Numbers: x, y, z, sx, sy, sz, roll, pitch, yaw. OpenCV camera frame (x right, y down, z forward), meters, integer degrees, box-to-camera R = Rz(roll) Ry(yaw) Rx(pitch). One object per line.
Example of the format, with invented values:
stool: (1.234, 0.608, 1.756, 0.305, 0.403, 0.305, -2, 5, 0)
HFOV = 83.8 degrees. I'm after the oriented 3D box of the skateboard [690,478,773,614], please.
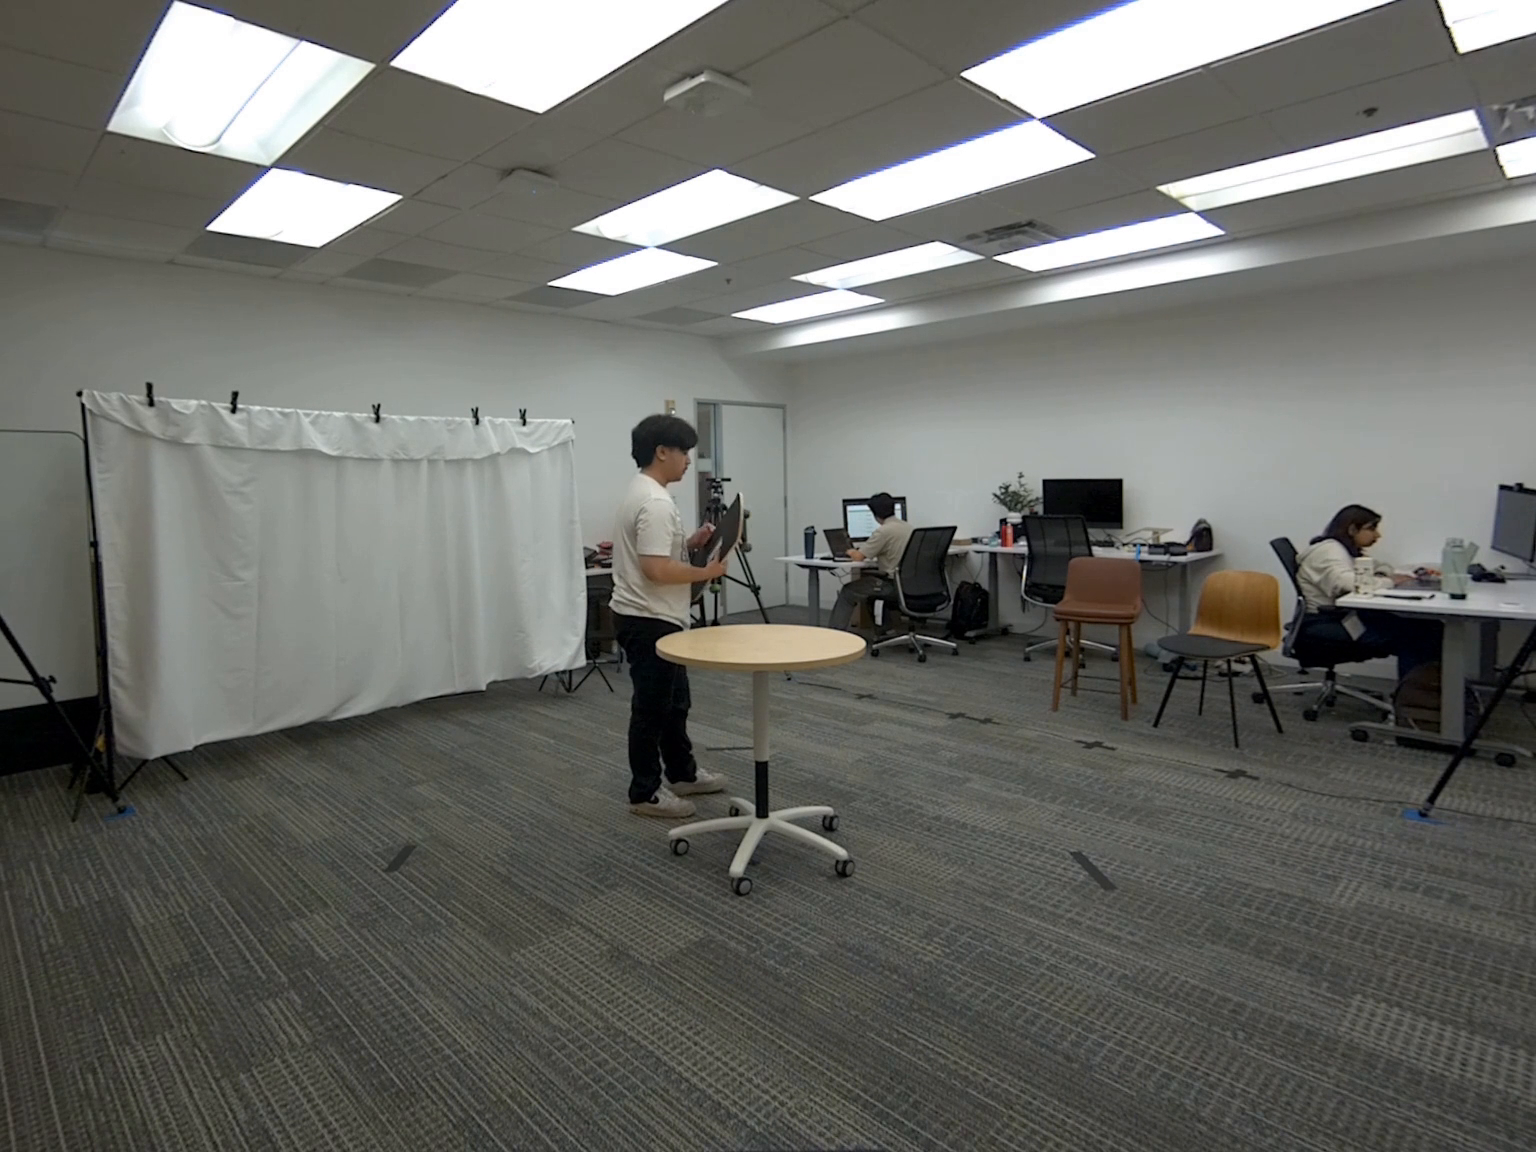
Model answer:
skateboard: (-0.185, -0.104, 3.572, 0.108, 0.198, 0.781, 7, -30, -20)
